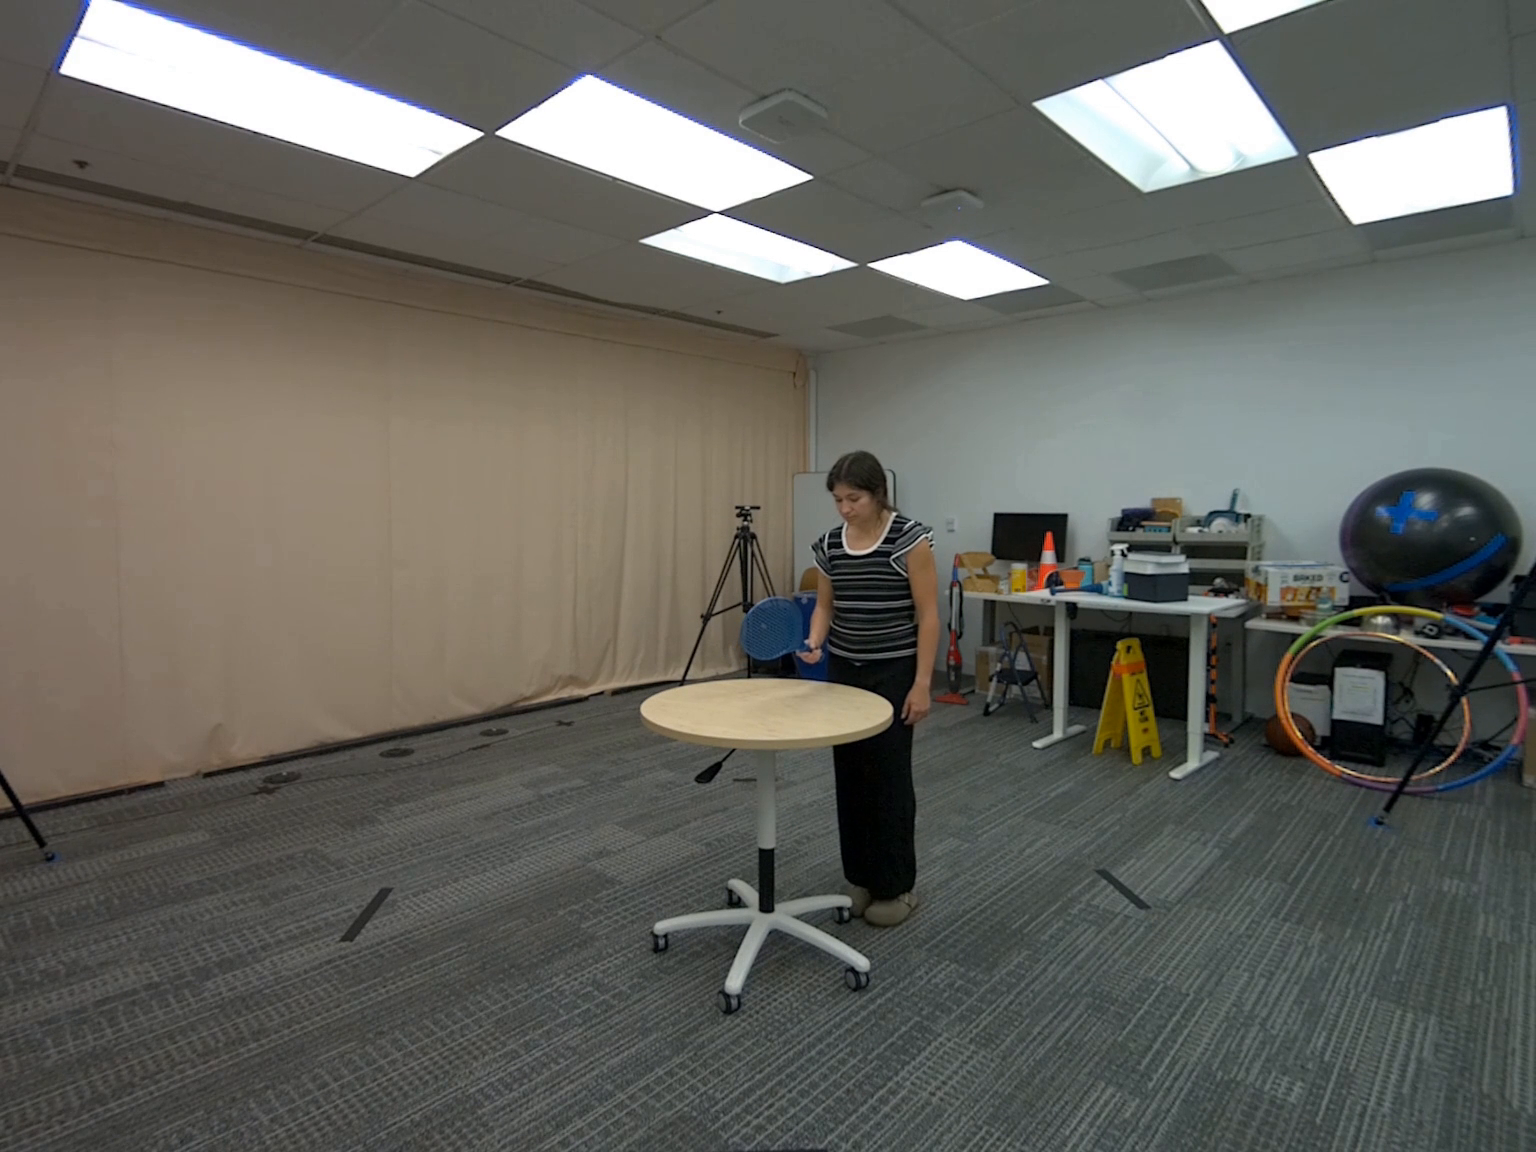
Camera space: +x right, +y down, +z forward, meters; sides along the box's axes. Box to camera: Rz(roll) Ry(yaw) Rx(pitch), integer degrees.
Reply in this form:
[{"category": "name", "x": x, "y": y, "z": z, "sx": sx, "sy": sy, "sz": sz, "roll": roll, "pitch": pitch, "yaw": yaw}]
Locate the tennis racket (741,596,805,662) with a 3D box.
[{"category": "tennis racket", "x": 0.055, "y": 0.207, "z": 2.700, "sx": 0.033, "sy": 0.214, "sz": 0.417, "roll": 30, "pitch": -4, "yaw": 44}]
